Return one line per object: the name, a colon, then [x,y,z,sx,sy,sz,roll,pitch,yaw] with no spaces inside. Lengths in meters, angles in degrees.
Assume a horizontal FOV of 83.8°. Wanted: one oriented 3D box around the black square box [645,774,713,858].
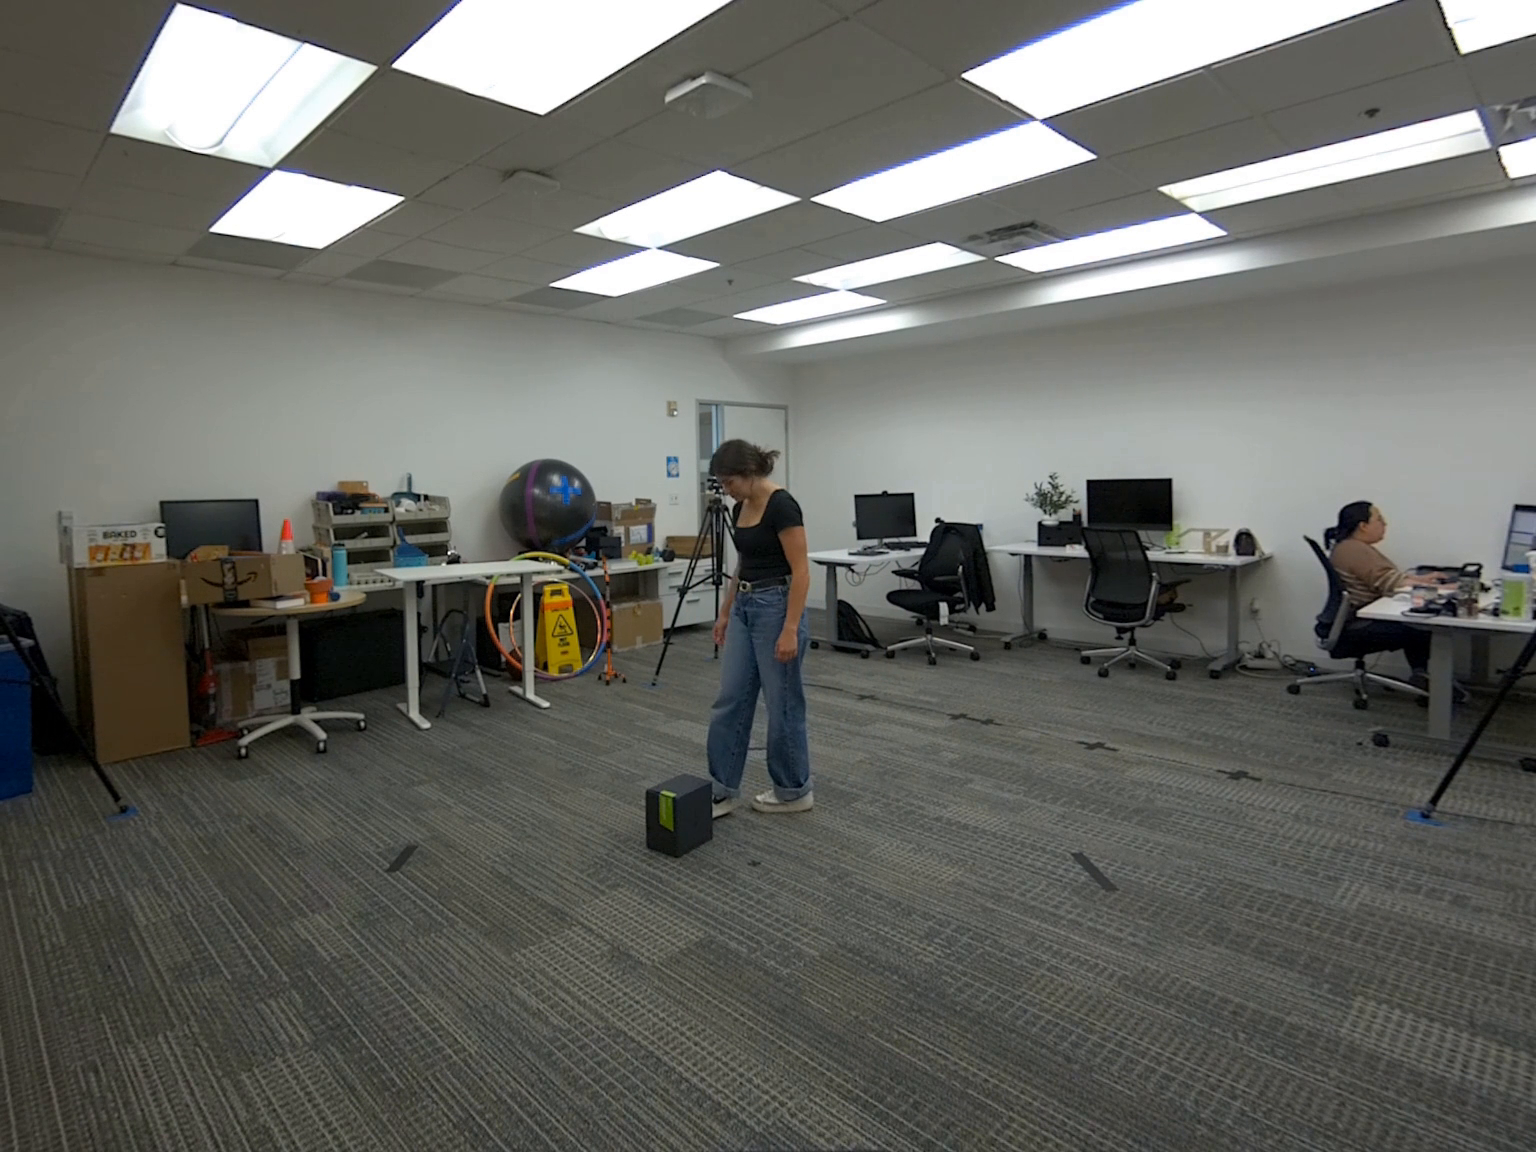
black square box: [-0.337,0.908,3.285,0.160,0.227,0.212,3,7,35]
